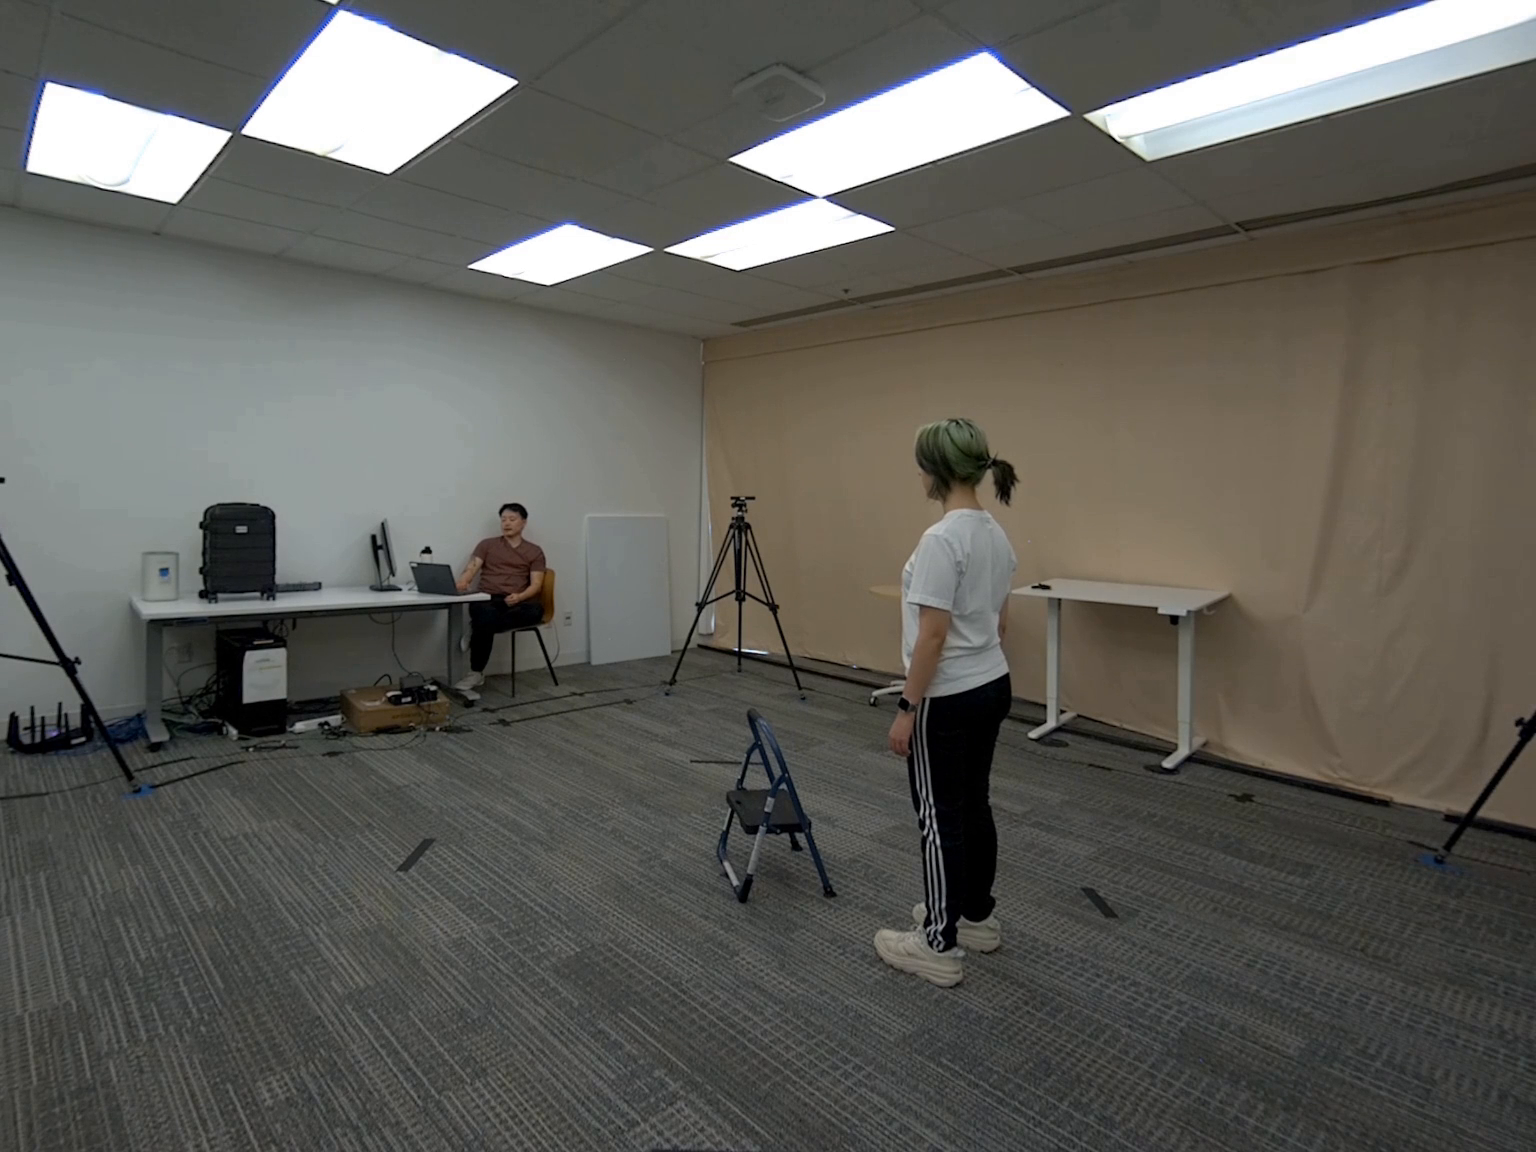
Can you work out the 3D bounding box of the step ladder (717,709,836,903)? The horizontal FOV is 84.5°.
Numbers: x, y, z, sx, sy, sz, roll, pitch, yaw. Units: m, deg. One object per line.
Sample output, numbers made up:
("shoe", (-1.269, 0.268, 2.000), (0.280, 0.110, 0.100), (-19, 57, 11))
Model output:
("step ladder", (0.017, 0.807, 3.106), (0.345, 0.605, 0.436), (0, 3, -15))
